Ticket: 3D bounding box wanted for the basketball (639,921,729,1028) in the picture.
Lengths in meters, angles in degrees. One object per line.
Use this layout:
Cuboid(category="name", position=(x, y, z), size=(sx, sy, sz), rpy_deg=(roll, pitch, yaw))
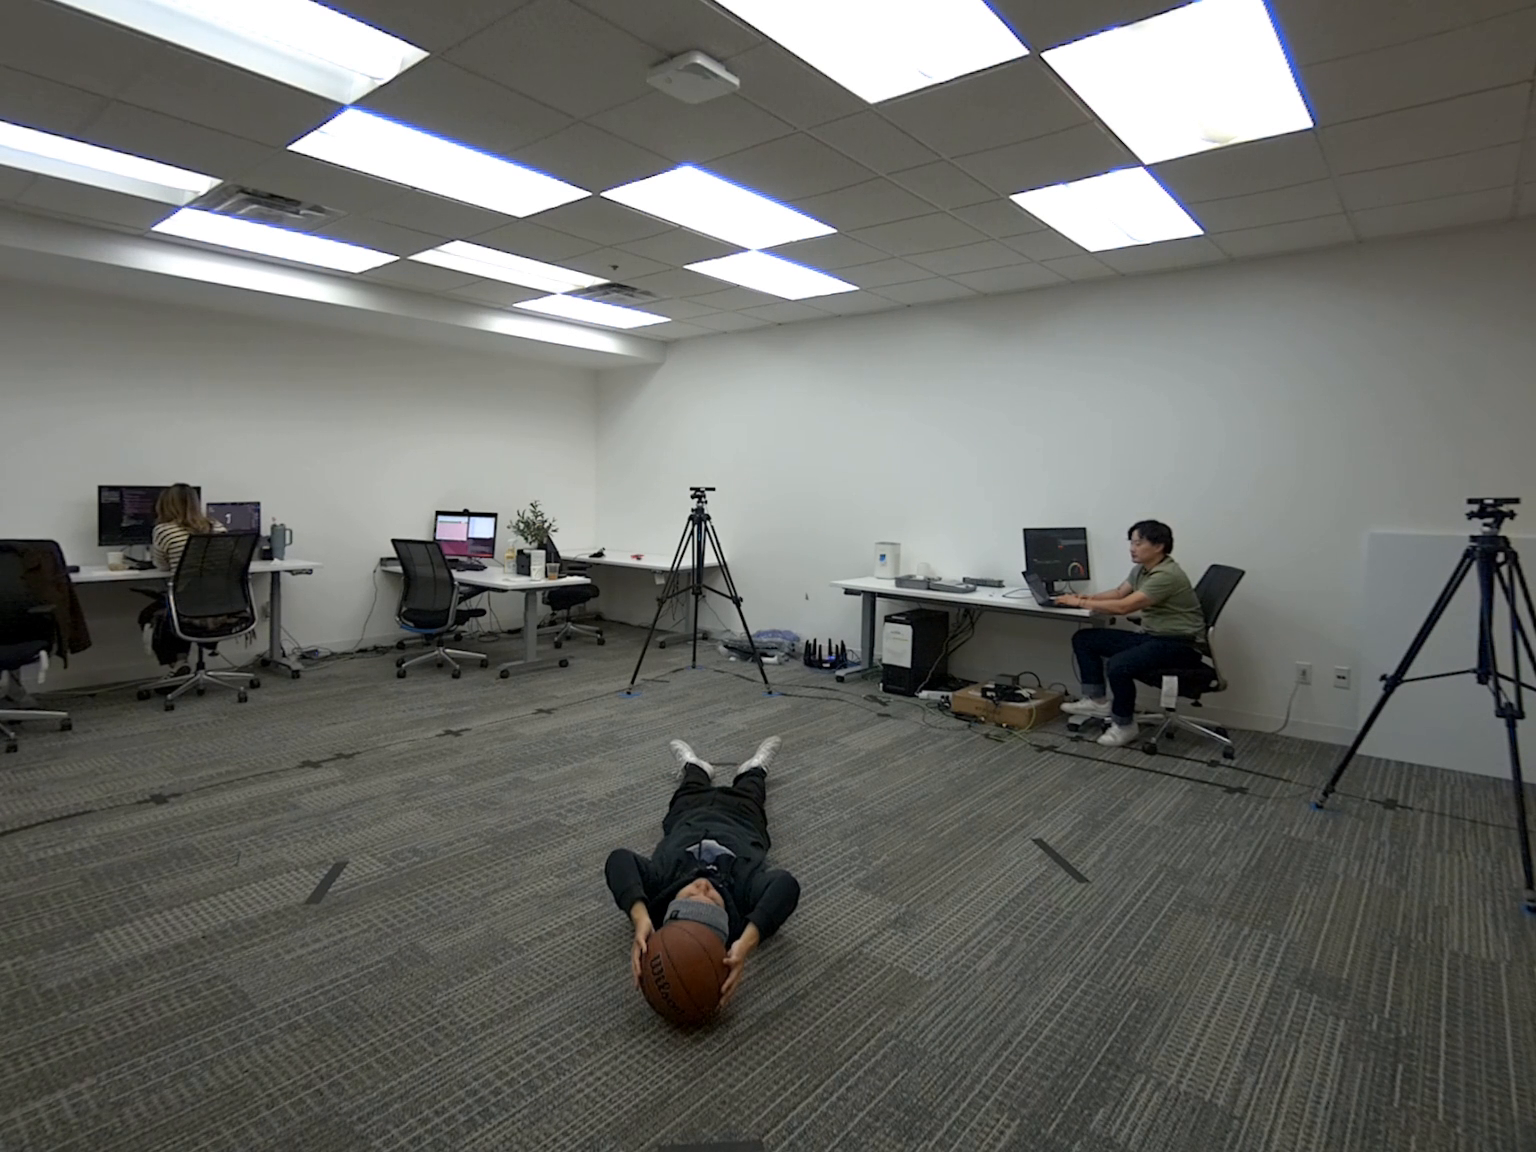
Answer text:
Cuboid(category="basketball", position=(-0.232, 1.035, 2.226), size=(0.235, 0.235, 0.237), rpy_deg=(1, 4, -2))
